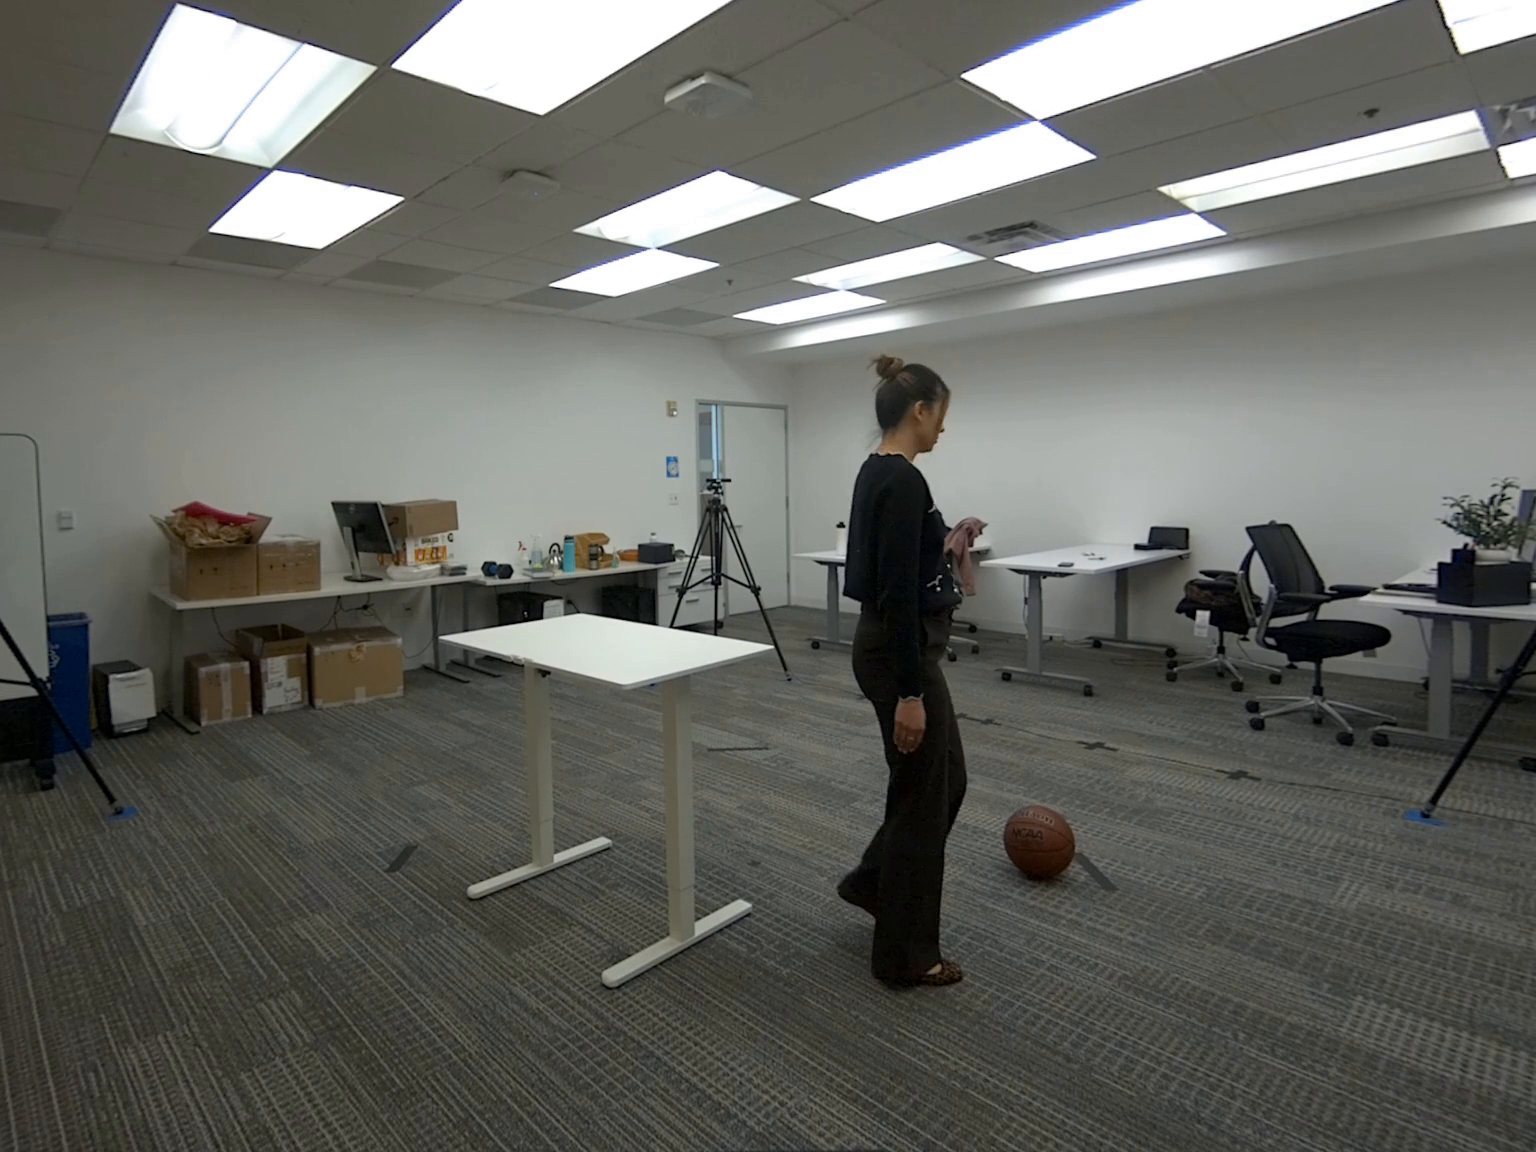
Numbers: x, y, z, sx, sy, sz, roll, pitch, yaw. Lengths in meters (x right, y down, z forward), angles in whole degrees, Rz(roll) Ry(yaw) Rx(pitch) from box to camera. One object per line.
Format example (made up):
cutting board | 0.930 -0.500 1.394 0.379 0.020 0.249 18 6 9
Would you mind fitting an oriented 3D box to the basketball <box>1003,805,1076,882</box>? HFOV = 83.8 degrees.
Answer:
basketball | 0.953 0.927 2.974 0.236 0.235 0.237 -1 5 -2
